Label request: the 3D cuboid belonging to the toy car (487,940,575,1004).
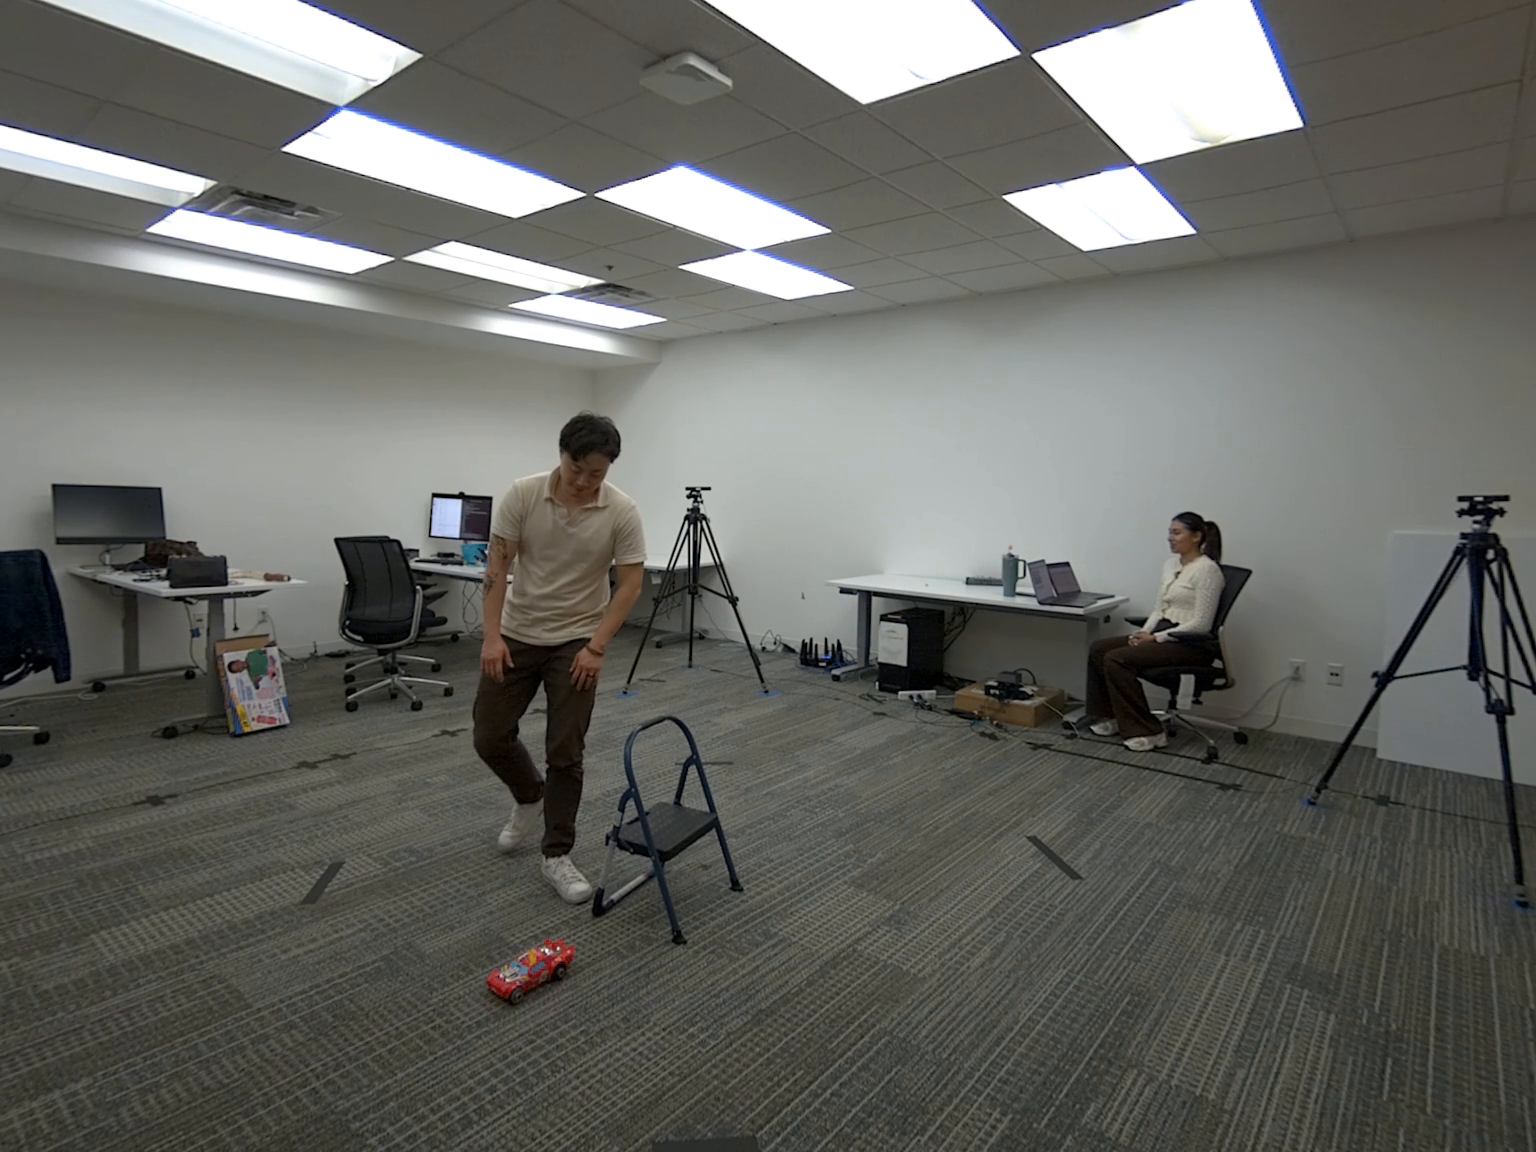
[{"bbox_3d":[-0.667,1.104,2.378,0.135,0.082,0.249,4,17,39],"label":"toy car"}]
